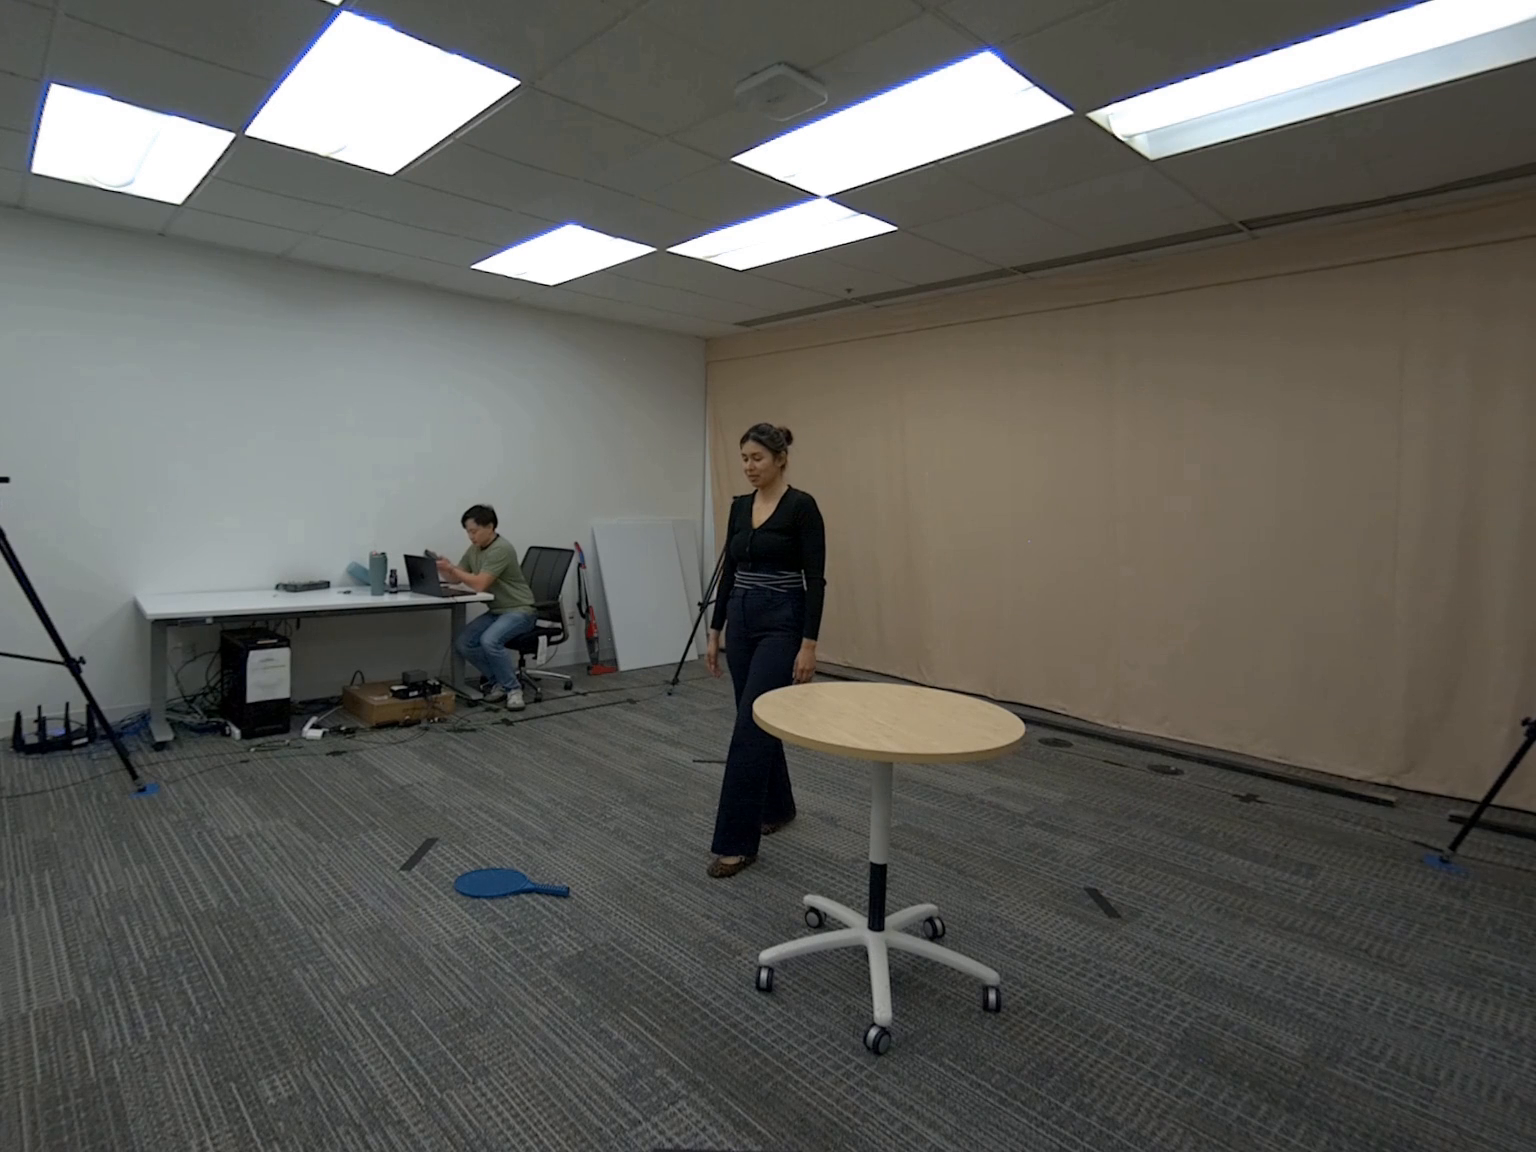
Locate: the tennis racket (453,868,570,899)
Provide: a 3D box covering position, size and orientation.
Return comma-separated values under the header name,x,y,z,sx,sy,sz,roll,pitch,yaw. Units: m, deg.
name,x,y,z,sx,sy,sz,roll,pitch,yaw
tennis racket,-0.898,1.084,2.962,0.438,0.031,0.212,1,5,14
